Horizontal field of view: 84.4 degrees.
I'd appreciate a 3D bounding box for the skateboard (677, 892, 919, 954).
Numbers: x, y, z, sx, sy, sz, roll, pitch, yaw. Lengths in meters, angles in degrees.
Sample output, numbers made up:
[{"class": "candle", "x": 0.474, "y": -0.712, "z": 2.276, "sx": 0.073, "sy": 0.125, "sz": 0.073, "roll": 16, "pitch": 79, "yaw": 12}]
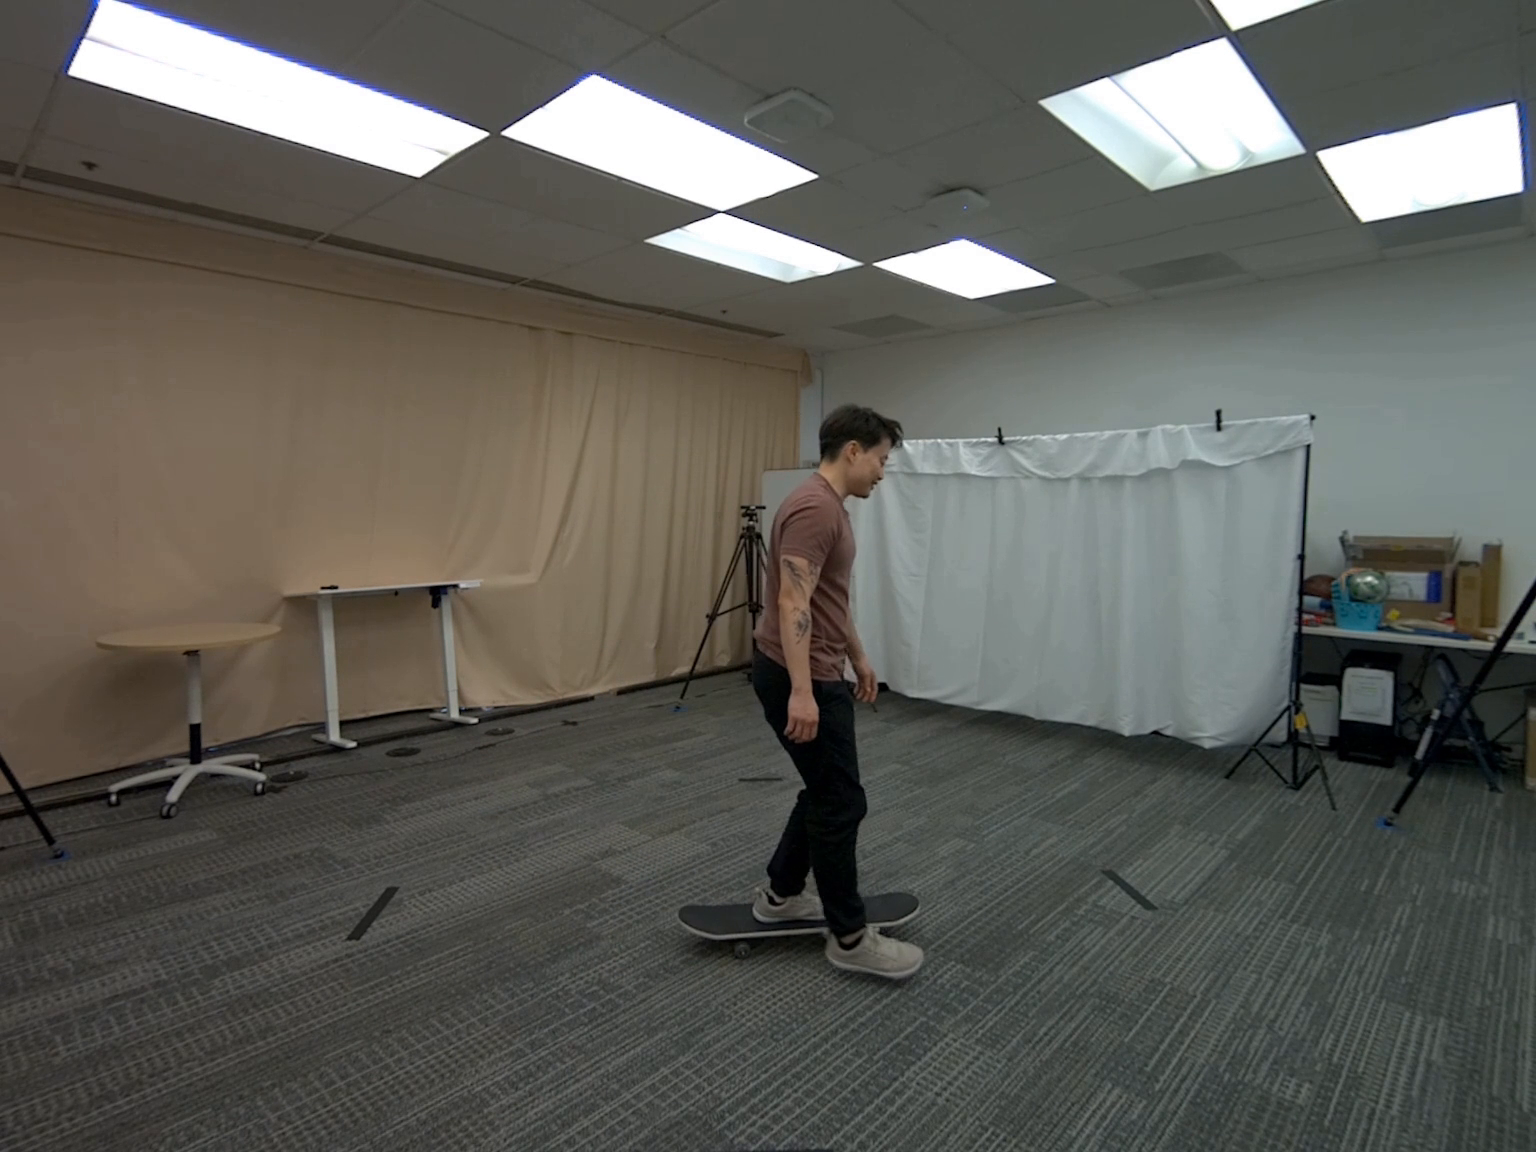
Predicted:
[{"class": "skateboard", "x": 0.107, "y": 1.112, "z": 2.689, "sx": 0.779, "sy": 0.110, "sz": 0.195, "roll": 0, "pitch": 4, "yaw": -8}]
